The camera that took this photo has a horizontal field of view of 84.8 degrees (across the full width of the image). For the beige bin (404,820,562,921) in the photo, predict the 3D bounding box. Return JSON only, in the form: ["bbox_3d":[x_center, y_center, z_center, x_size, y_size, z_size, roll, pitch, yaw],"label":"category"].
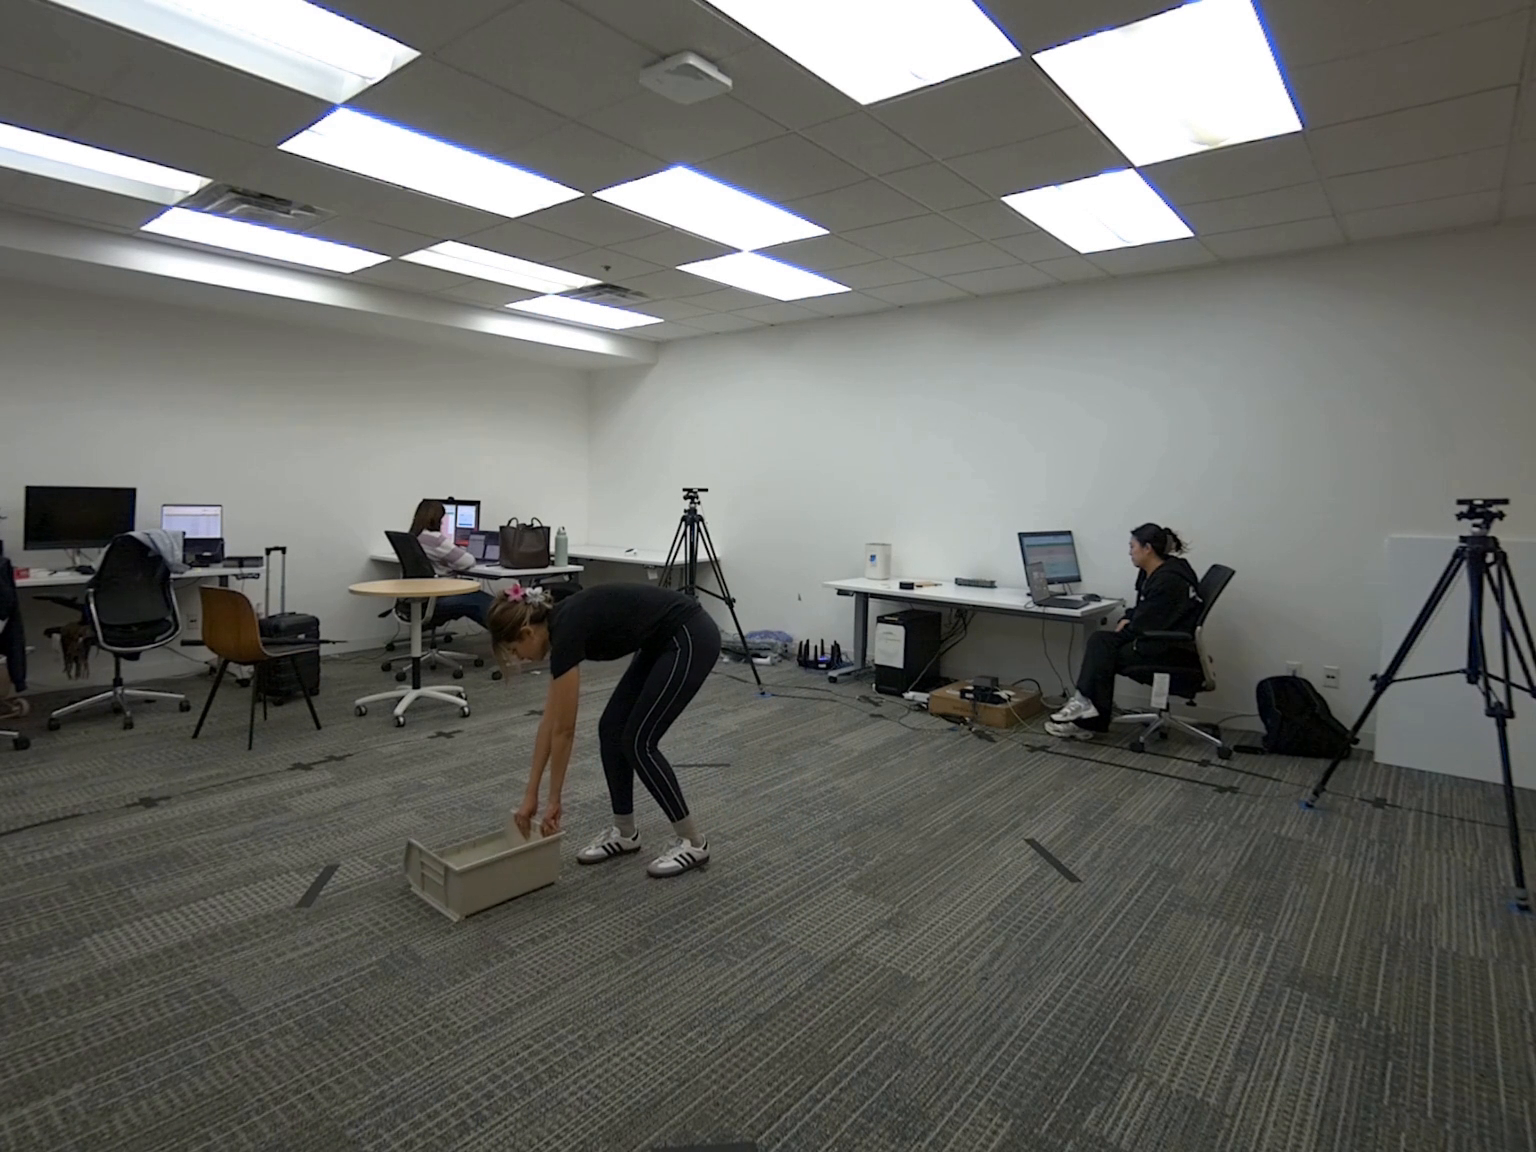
[{"bbox_3d":[-0.998,0.984,2.962,0.390,0.188,0.410,7,8,42],"label":"beige bin"}]
